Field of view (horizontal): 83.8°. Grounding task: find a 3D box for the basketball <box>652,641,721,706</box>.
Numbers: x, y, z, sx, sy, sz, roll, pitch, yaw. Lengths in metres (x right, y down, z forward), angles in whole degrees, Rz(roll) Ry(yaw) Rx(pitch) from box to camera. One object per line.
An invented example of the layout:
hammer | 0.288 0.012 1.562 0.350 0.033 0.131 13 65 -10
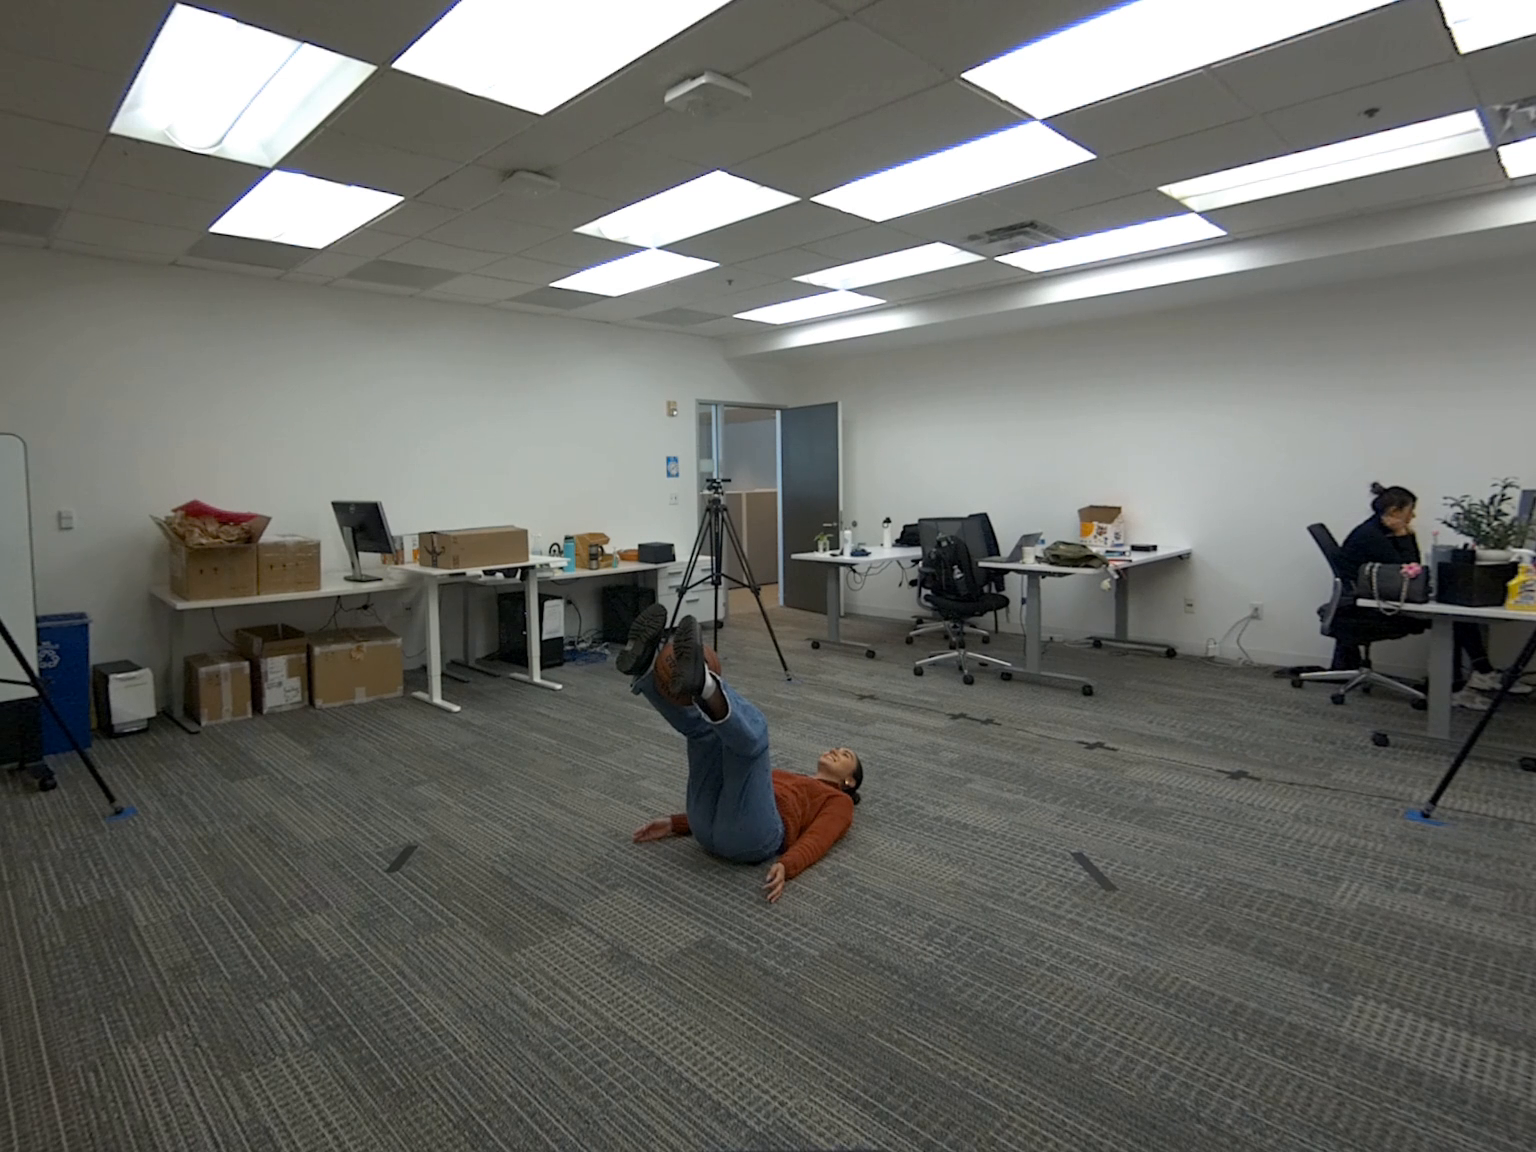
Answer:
basketball | -0.286 0.330 2.969 0.236 0.235 0.237 -1 5 -2
